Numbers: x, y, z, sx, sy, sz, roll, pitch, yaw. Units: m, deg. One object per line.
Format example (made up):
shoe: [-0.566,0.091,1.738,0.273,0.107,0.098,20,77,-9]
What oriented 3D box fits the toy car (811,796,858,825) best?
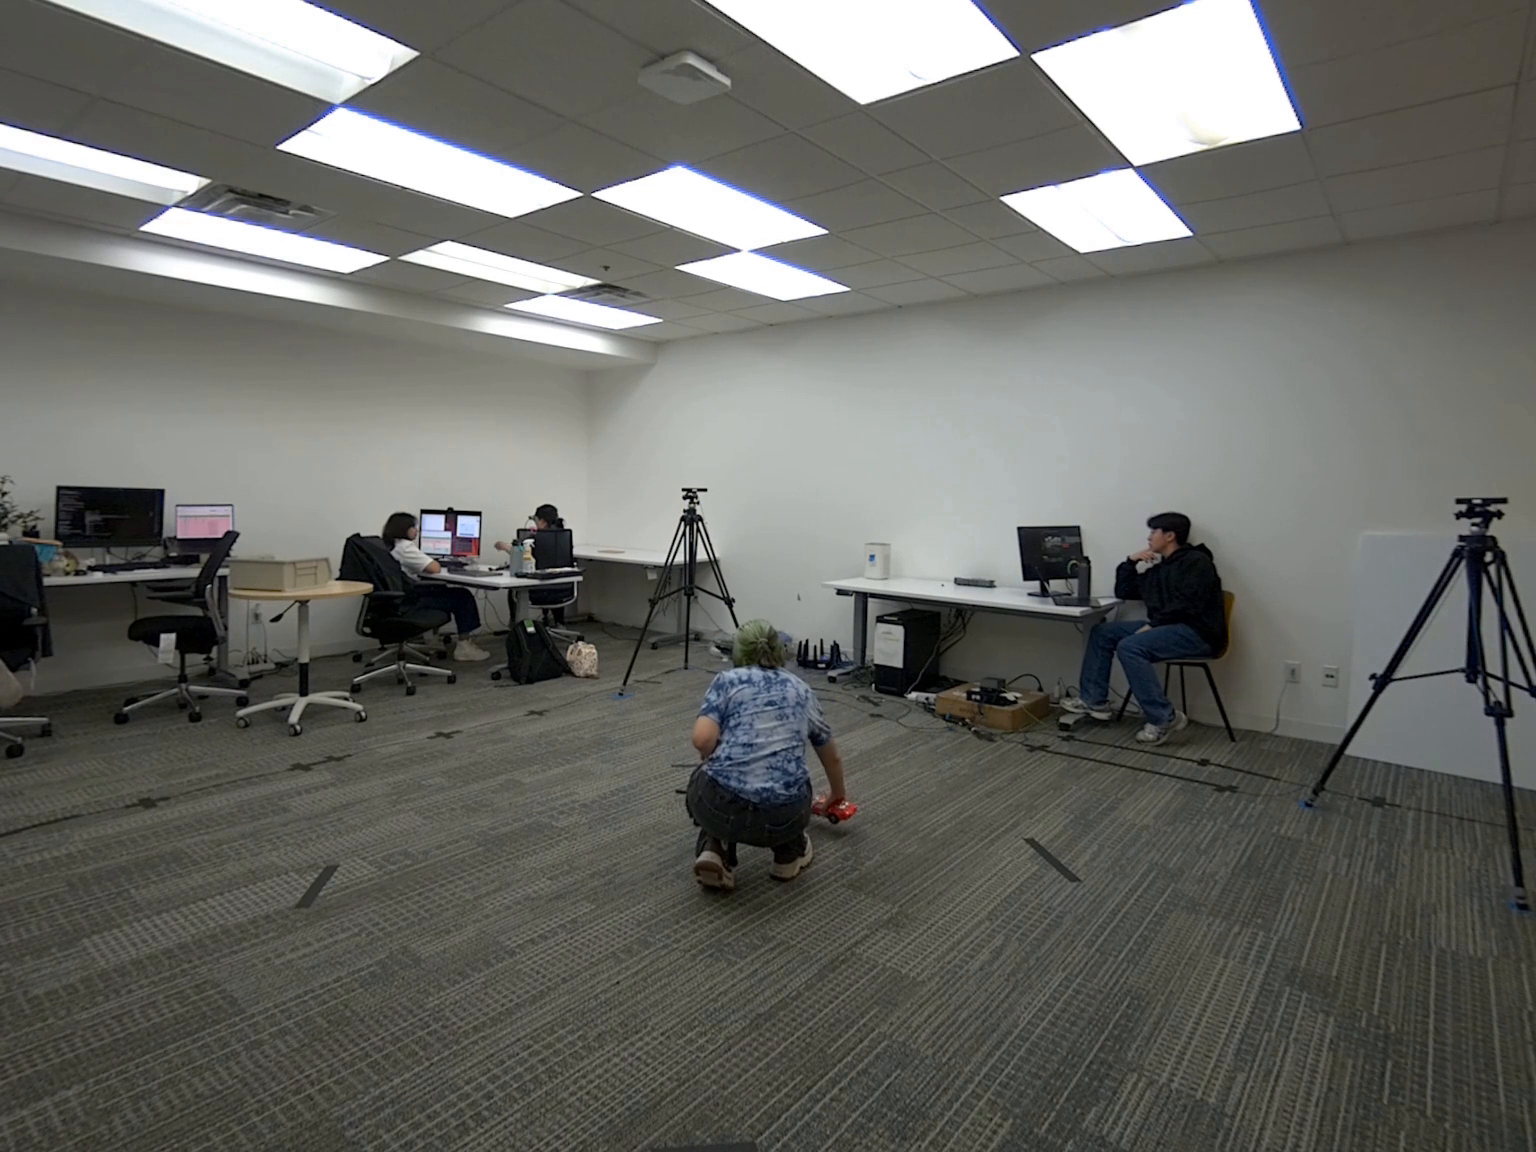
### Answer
toy car: [0.248,0.952,3.502,0.261,0.083,0.127,-10,4,38]
